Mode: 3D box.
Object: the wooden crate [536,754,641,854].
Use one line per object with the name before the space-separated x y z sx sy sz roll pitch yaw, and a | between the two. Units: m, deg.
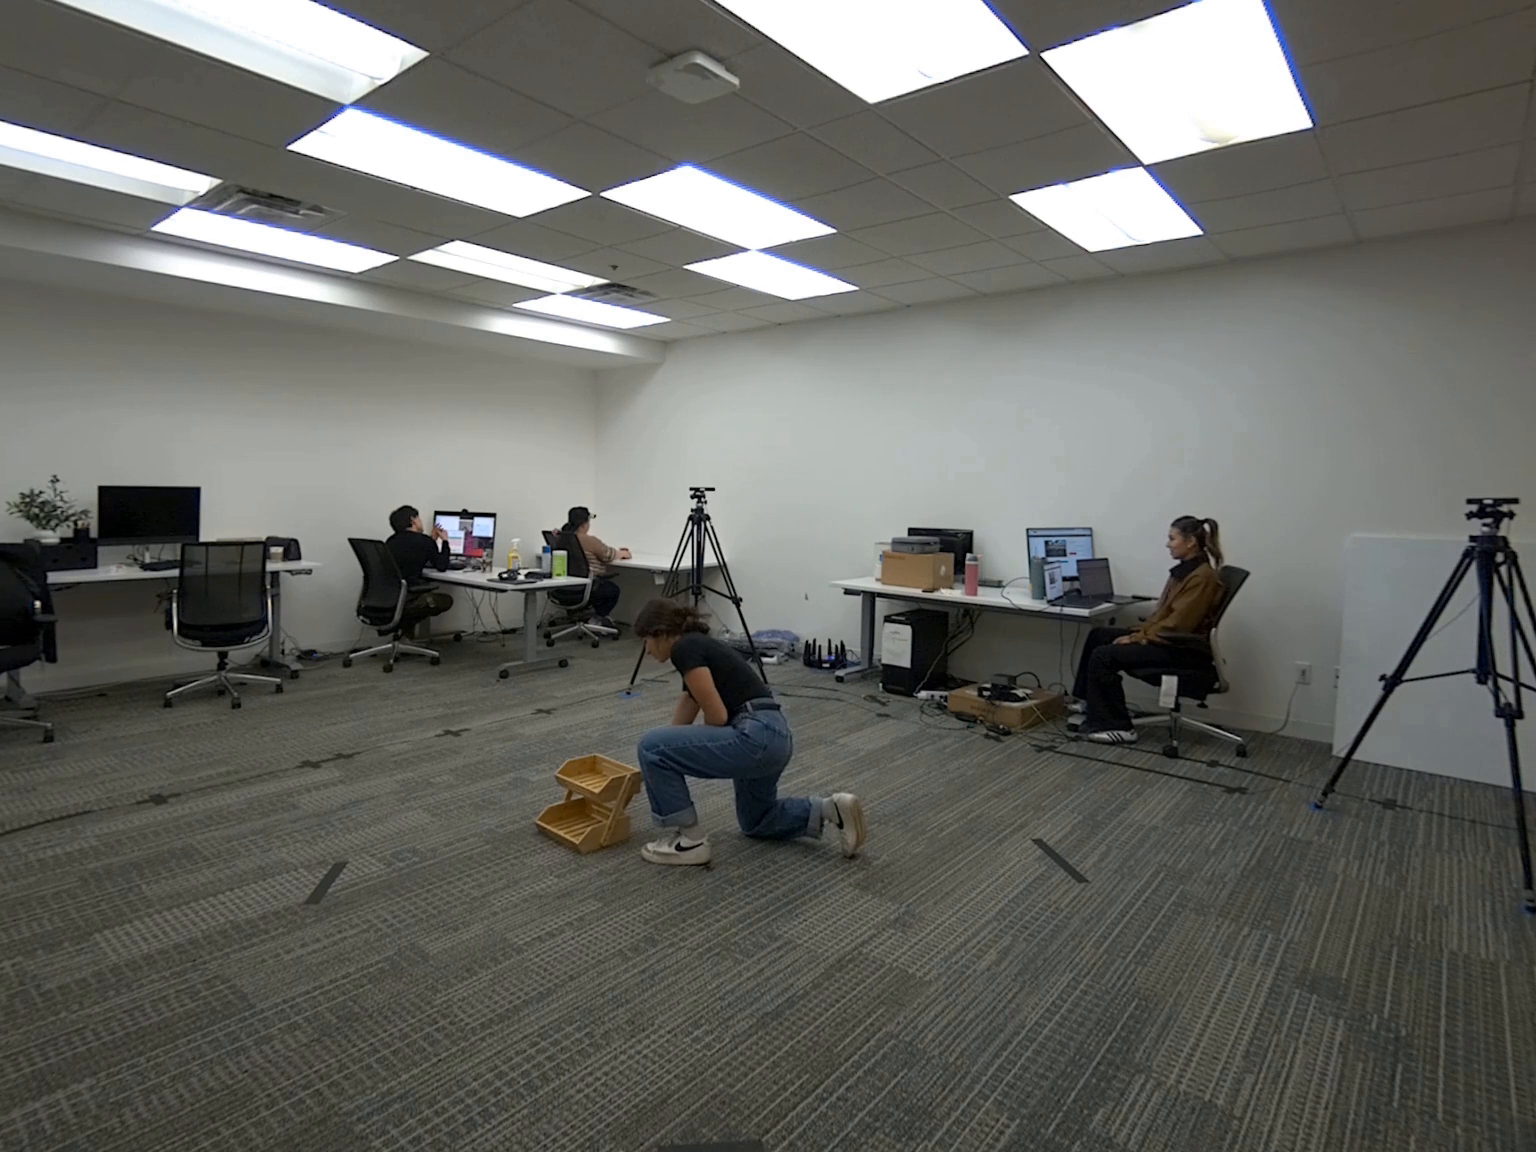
wooden crate | -0.738 0.897 3.405 0.335 0.272 0.293 5 5 43
